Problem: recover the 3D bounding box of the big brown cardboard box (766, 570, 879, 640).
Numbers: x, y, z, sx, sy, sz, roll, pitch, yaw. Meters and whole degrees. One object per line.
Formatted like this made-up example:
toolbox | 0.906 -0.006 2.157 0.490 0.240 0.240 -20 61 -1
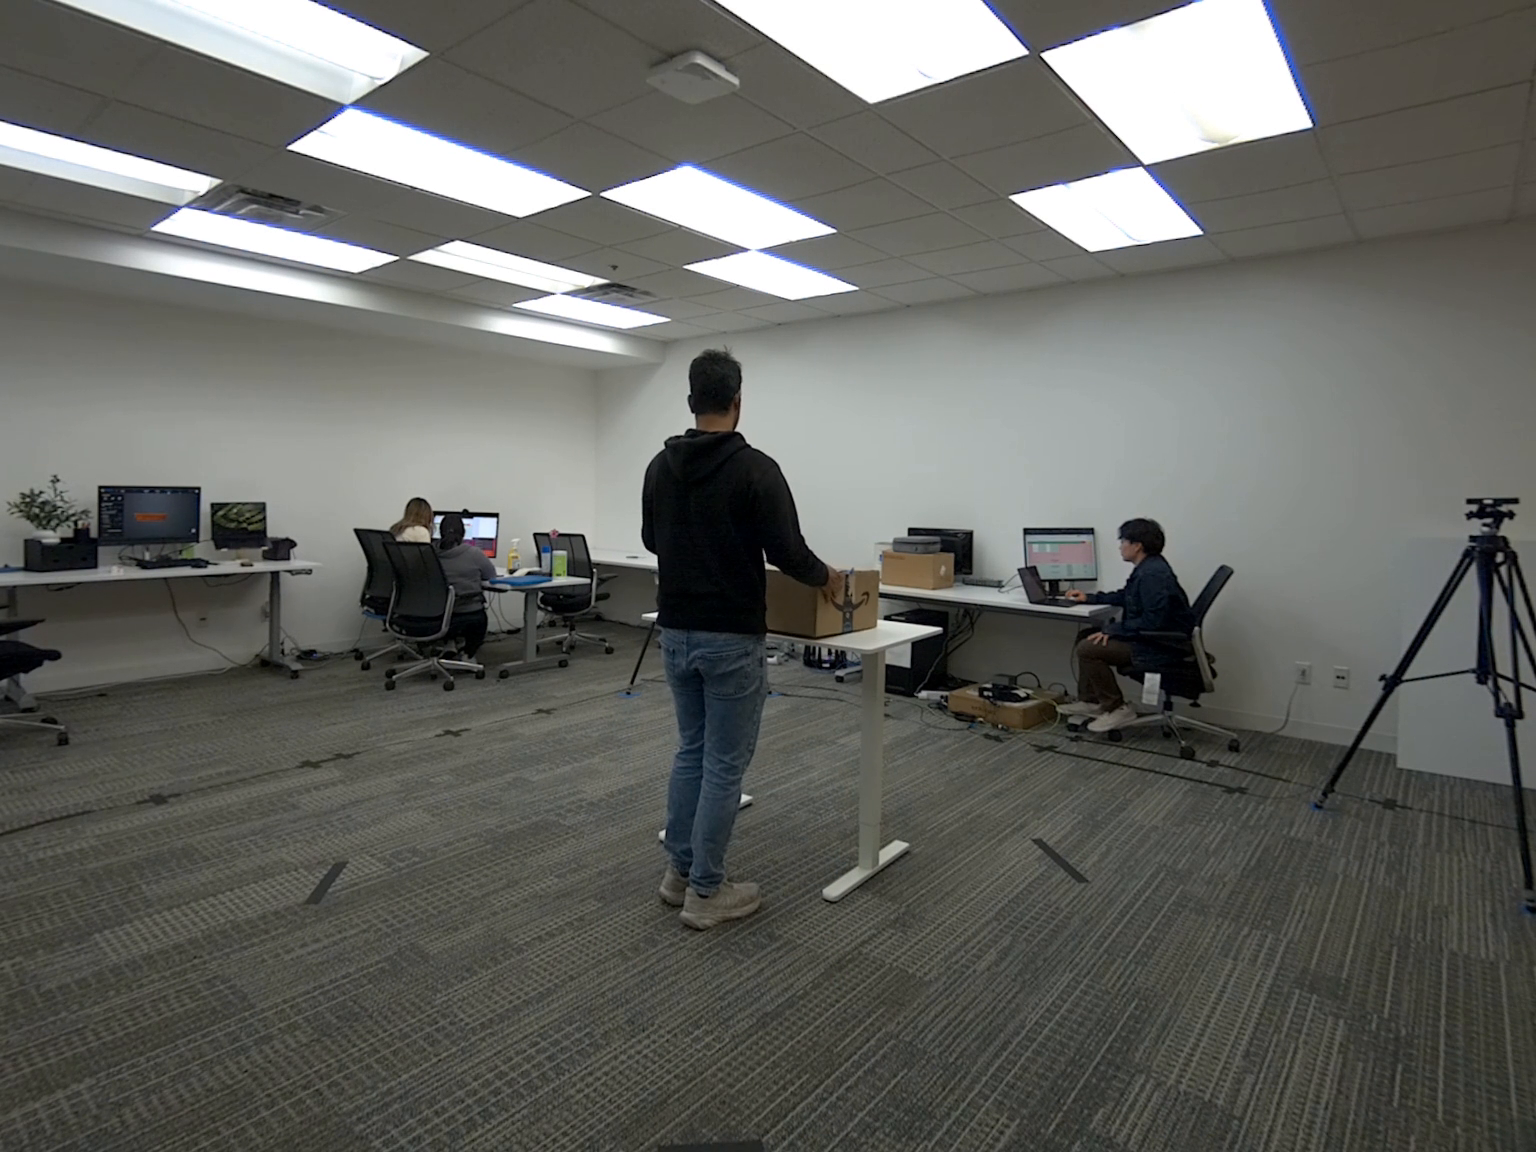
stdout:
big brown cardboard box | 0.032 0.053 3.205 0.609 0.232 0.405 7 7 37
